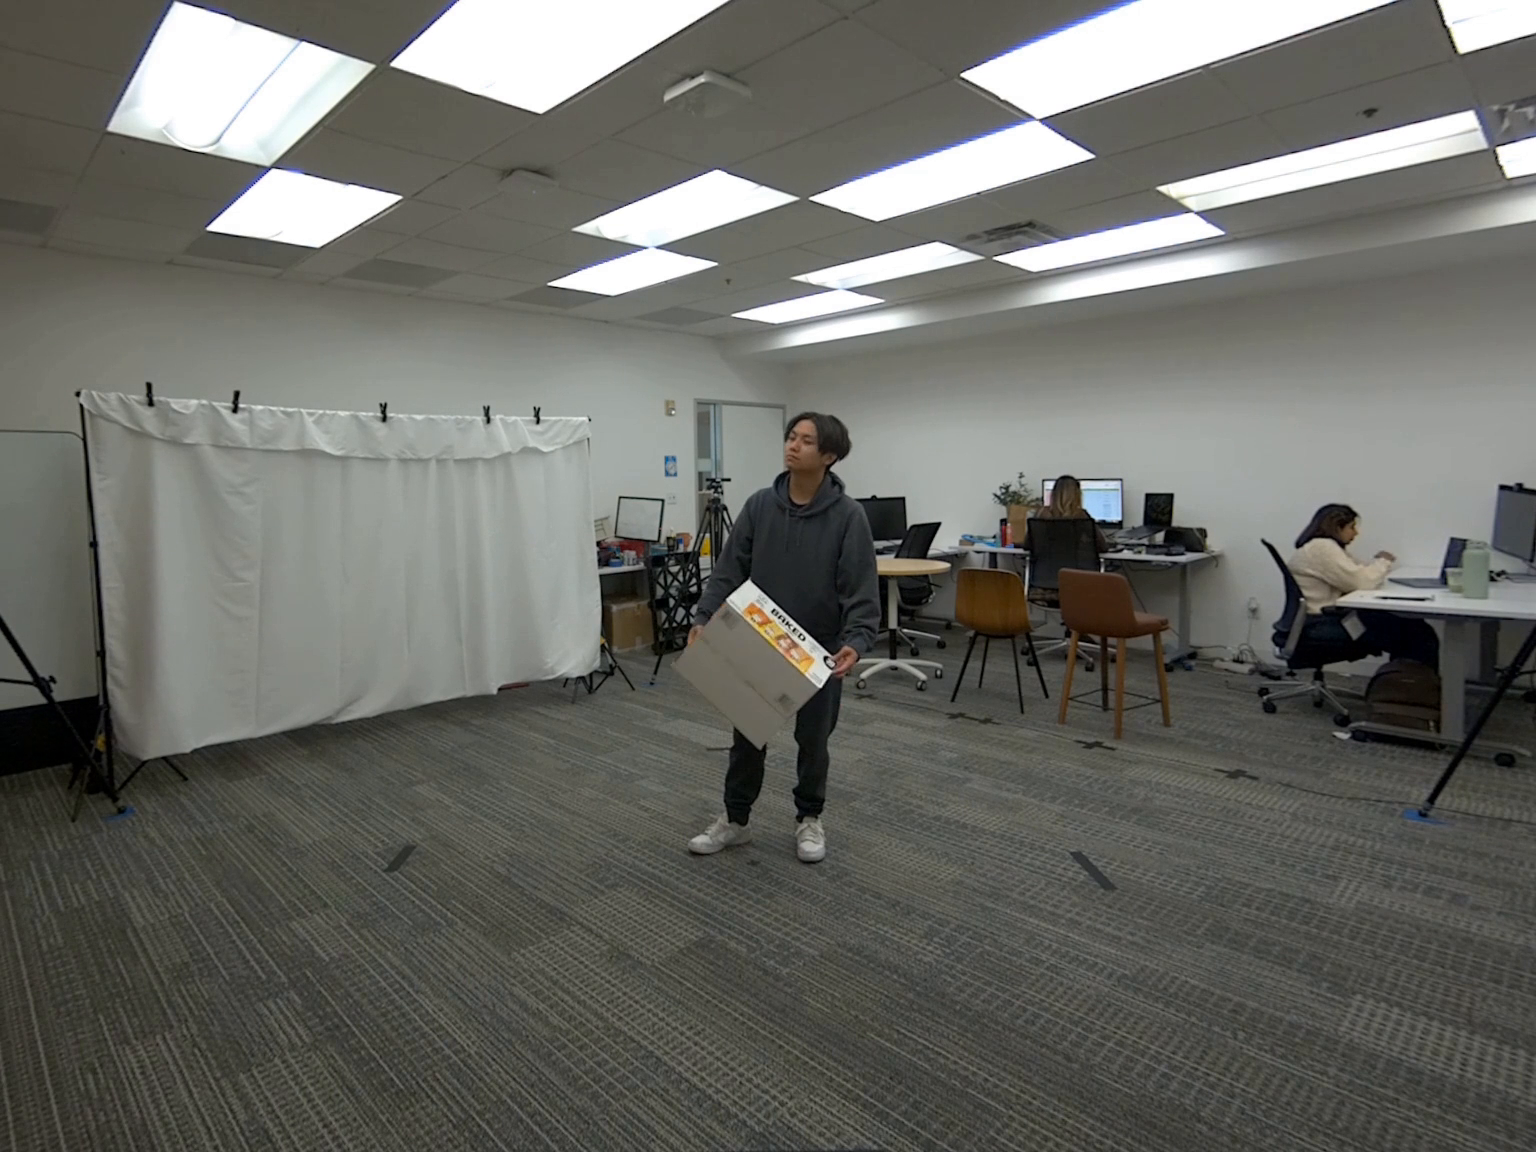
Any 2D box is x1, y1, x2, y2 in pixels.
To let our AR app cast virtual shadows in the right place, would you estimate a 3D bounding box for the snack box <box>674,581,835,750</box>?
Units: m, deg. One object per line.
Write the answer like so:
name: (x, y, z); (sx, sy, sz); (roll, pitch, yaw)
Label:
snack box: (-0.051, 0.297, 2.840); (0.409, 0.339, 0.204); (43, 28, 6)
